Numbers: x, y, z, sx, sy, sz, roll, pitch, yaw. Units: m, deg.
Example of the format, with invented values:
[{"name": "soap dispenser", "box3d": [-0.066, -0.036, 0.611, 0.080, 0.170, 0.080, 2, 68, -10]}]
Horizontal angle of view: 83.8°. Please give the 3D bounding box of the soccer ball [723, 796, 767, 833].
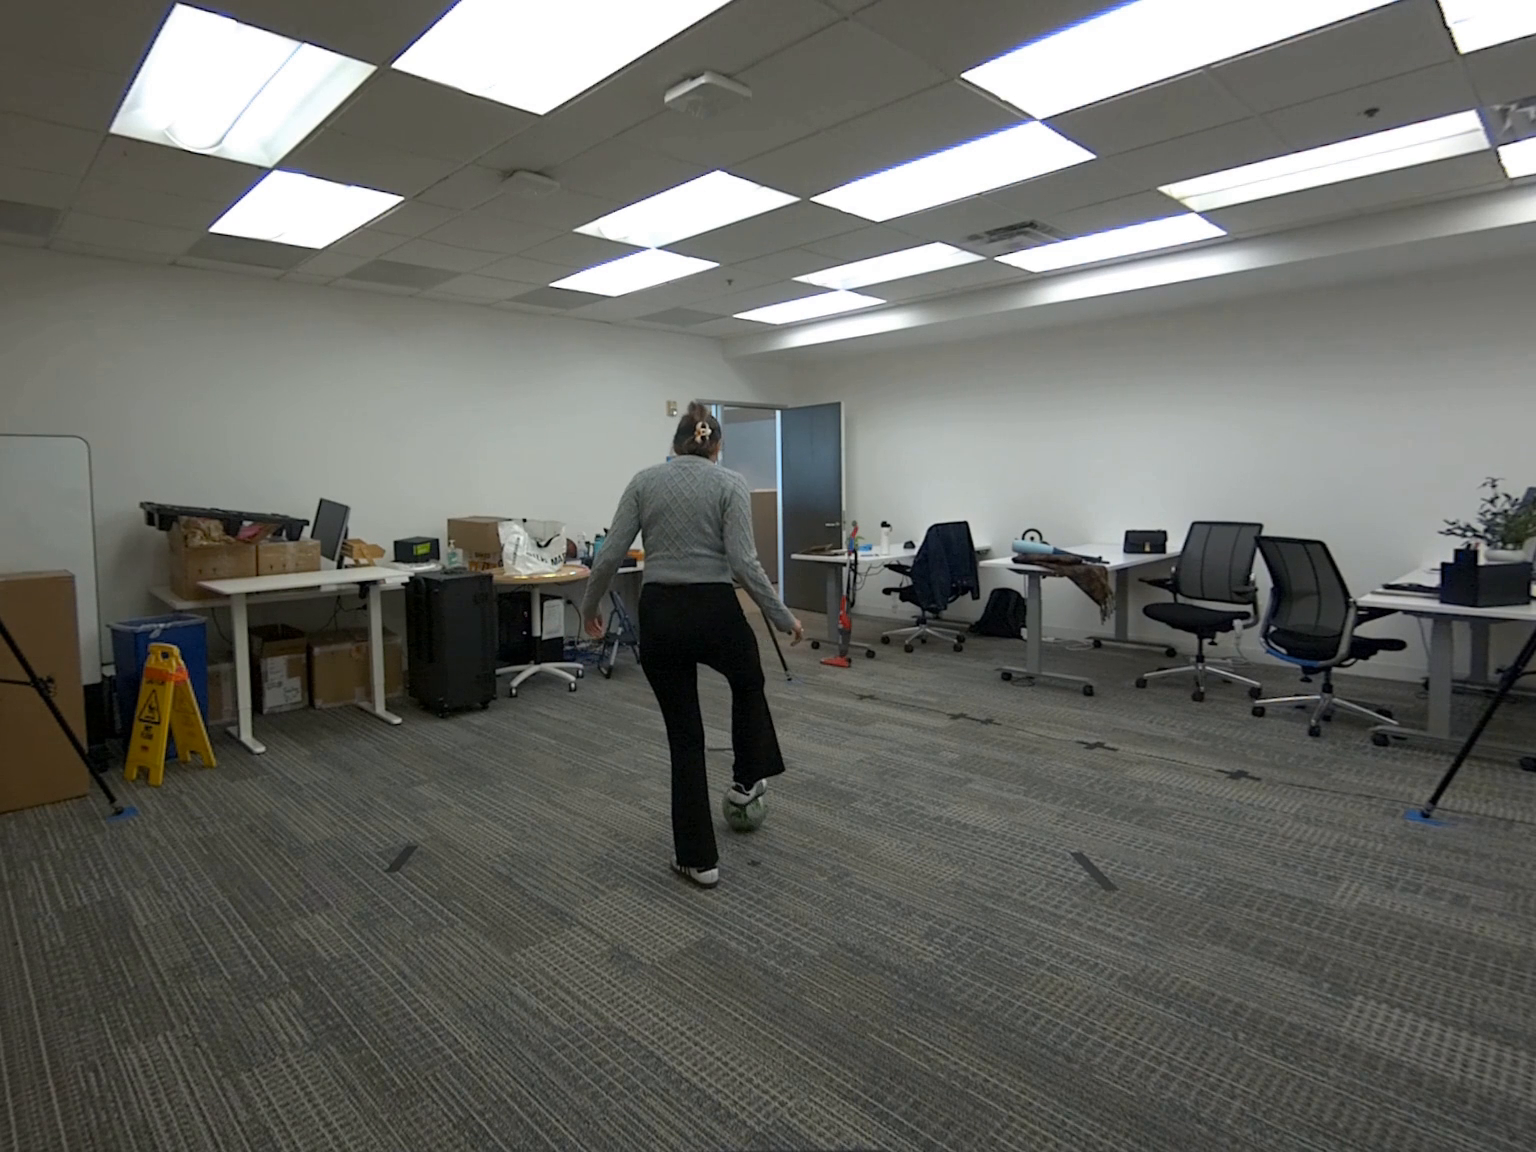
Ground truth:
[{"name": "soccer ball", "box3d": [-0.104, 0.920, 3.423, 0.187, 0.187, 0.188, -1, 5, -2]}]
